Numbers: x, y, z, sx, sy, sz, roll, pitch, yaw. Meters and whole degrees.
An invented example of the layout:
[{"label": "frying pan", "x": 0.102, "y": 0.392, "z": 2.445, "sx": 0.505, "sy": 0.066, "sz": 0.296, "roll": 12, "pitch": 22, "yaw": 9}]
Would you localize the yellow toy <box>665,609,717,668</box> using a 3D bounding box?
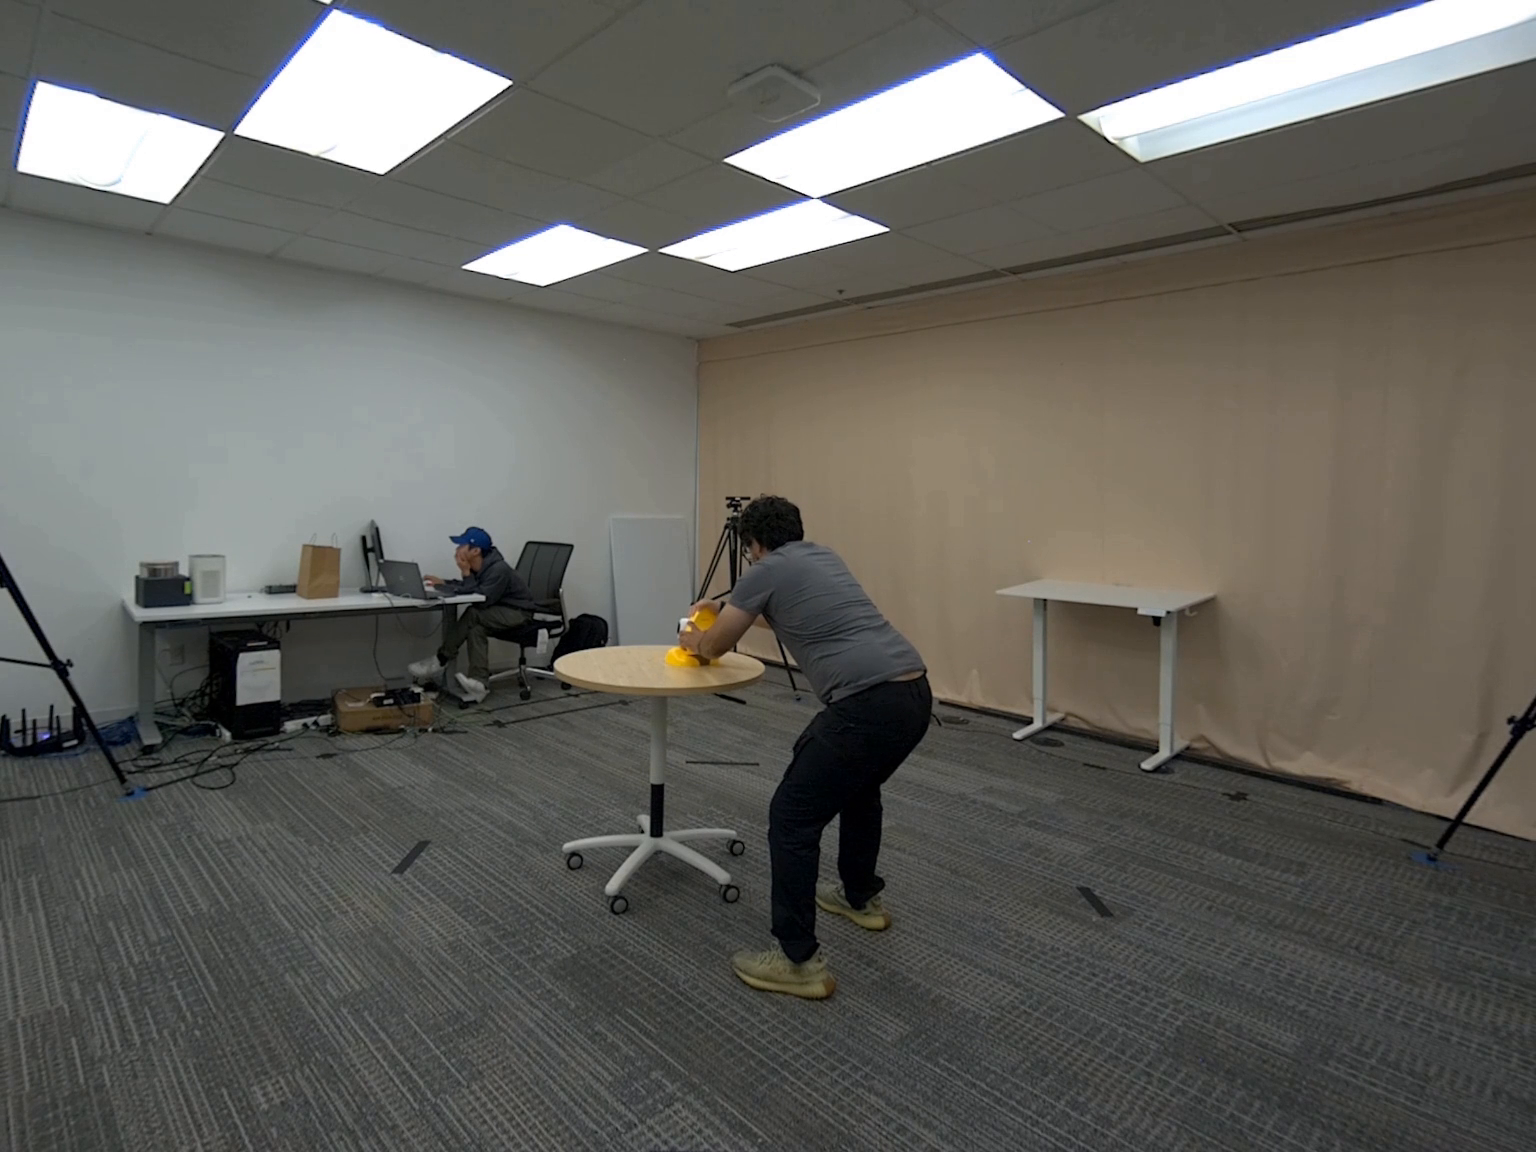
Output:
[{"label": "yellow toy", "x": -0.284, "y": 0.209, "z": 3.128, "sx": 0.200, "sy": 0.230, "sz": 0.198, "roll": -2, "pitch": 4, "yaw": -41}]
